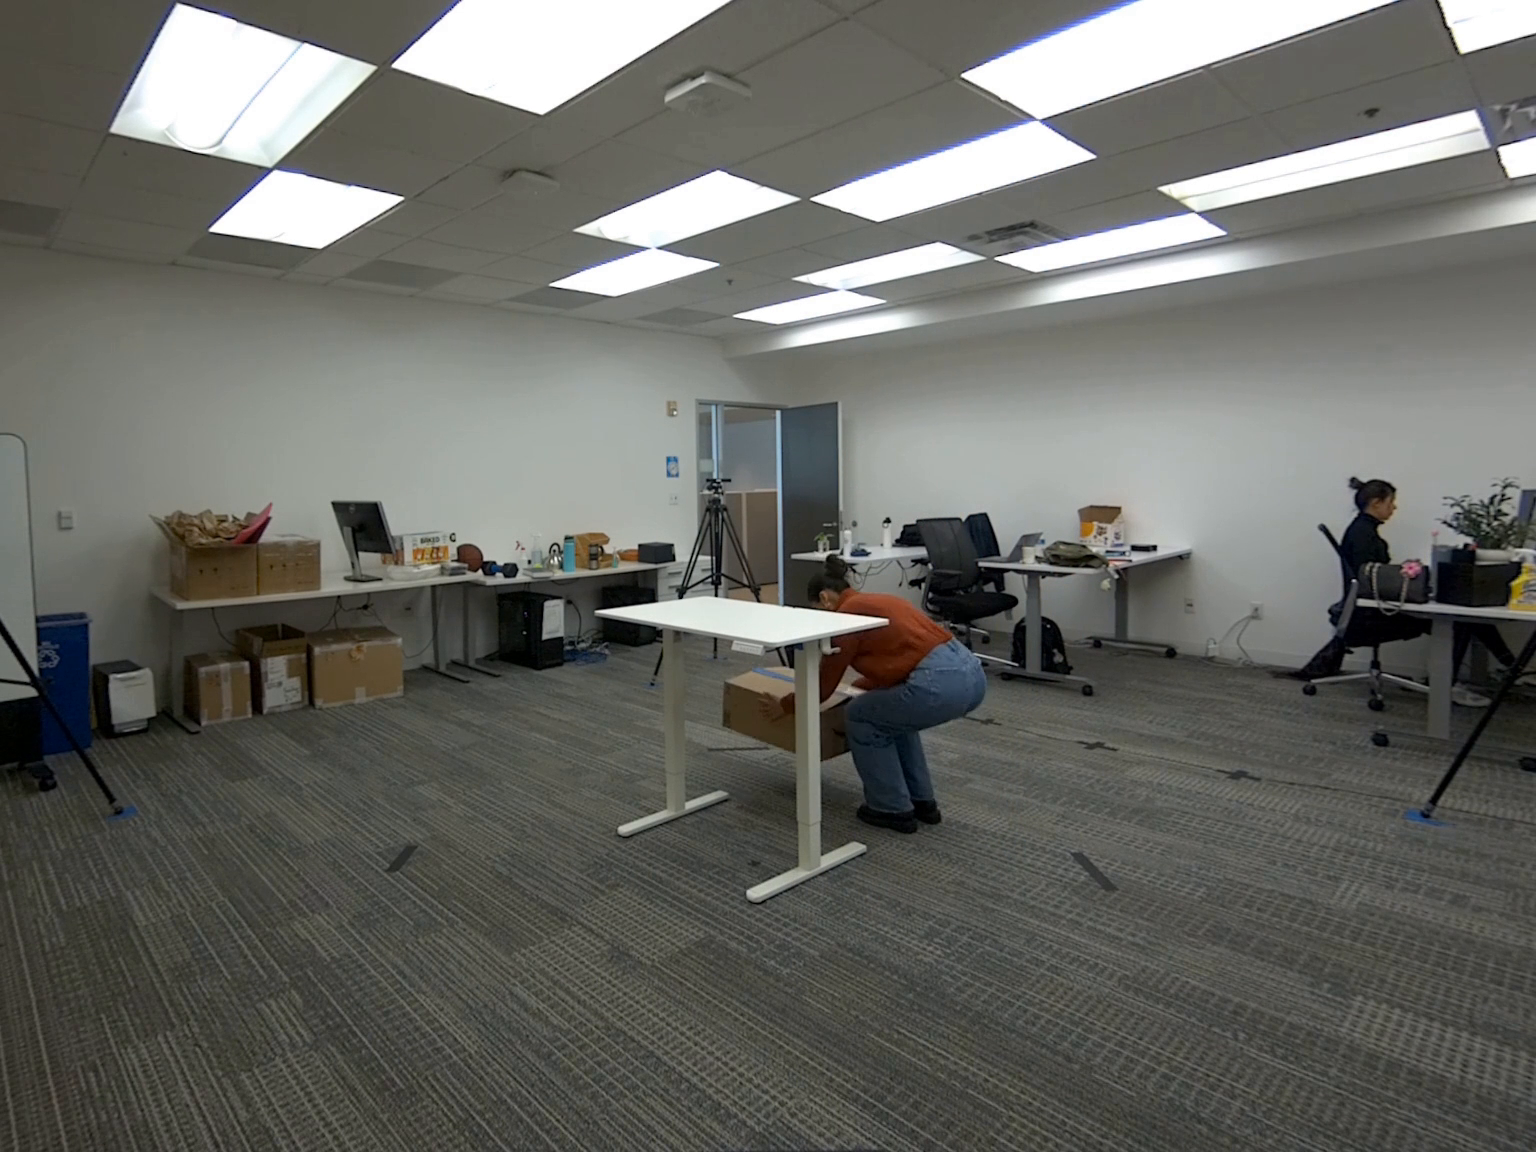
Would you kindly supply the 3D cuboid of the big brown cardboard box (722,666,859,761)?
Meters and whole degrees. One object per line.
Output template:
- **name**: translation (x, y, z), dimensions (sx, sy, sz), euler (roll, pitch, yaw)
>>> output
- **big brown cardboard box**: translation (0.149, 0.599, 3.824), dimensions (0.608, 0.232, 0.406), euler (9, 10, 42)
